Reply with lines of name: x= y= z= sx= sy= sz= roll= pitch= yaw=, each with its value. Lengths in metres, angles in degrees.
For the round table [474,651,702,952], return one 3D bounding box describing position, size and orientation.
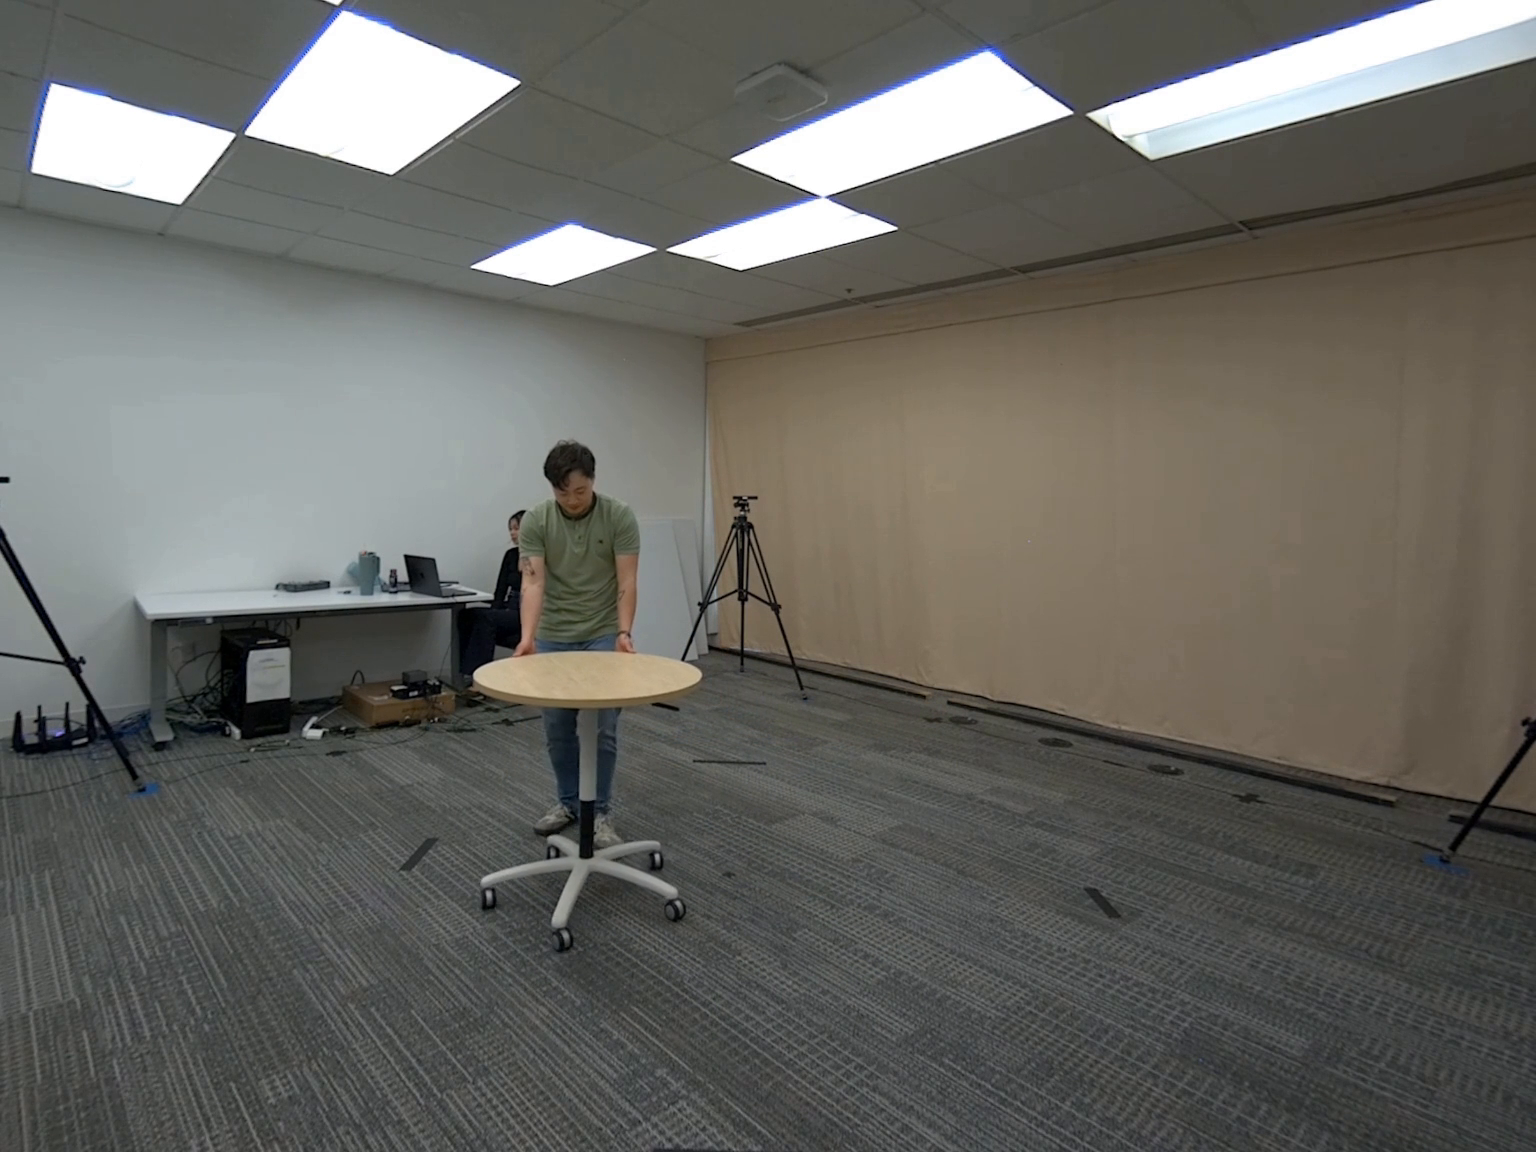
round table: x=-0.622 y=0.723 z=2.884 sx=0.763 sy=0.792 sz=0.766 roll=2 pitch=4 yaw=-1
